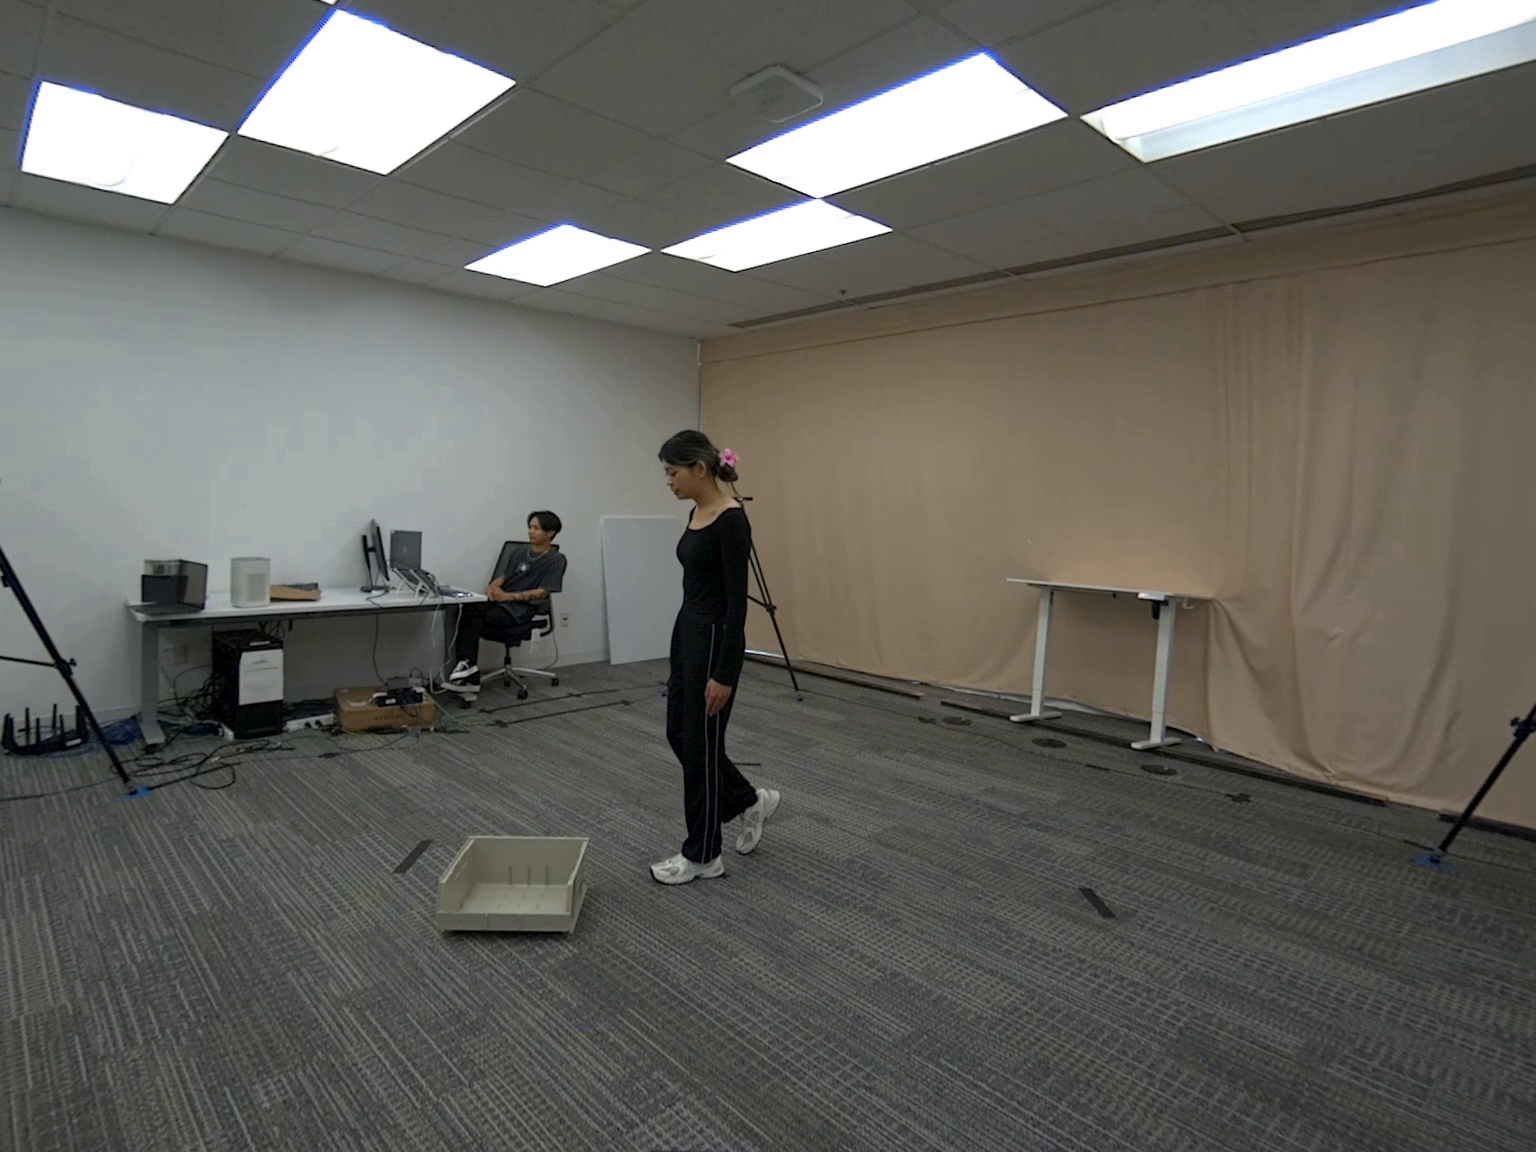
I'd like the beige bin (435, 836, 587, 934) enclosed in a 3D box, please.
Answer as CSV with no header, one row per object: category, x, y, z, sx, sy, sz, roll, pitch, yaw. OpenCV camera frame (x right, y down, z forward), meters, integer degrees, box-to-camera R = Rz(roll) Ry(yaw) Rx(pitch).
beige bin,-0.841,1.034,2.790,0.421,0.188,0.379,0,4,-3
